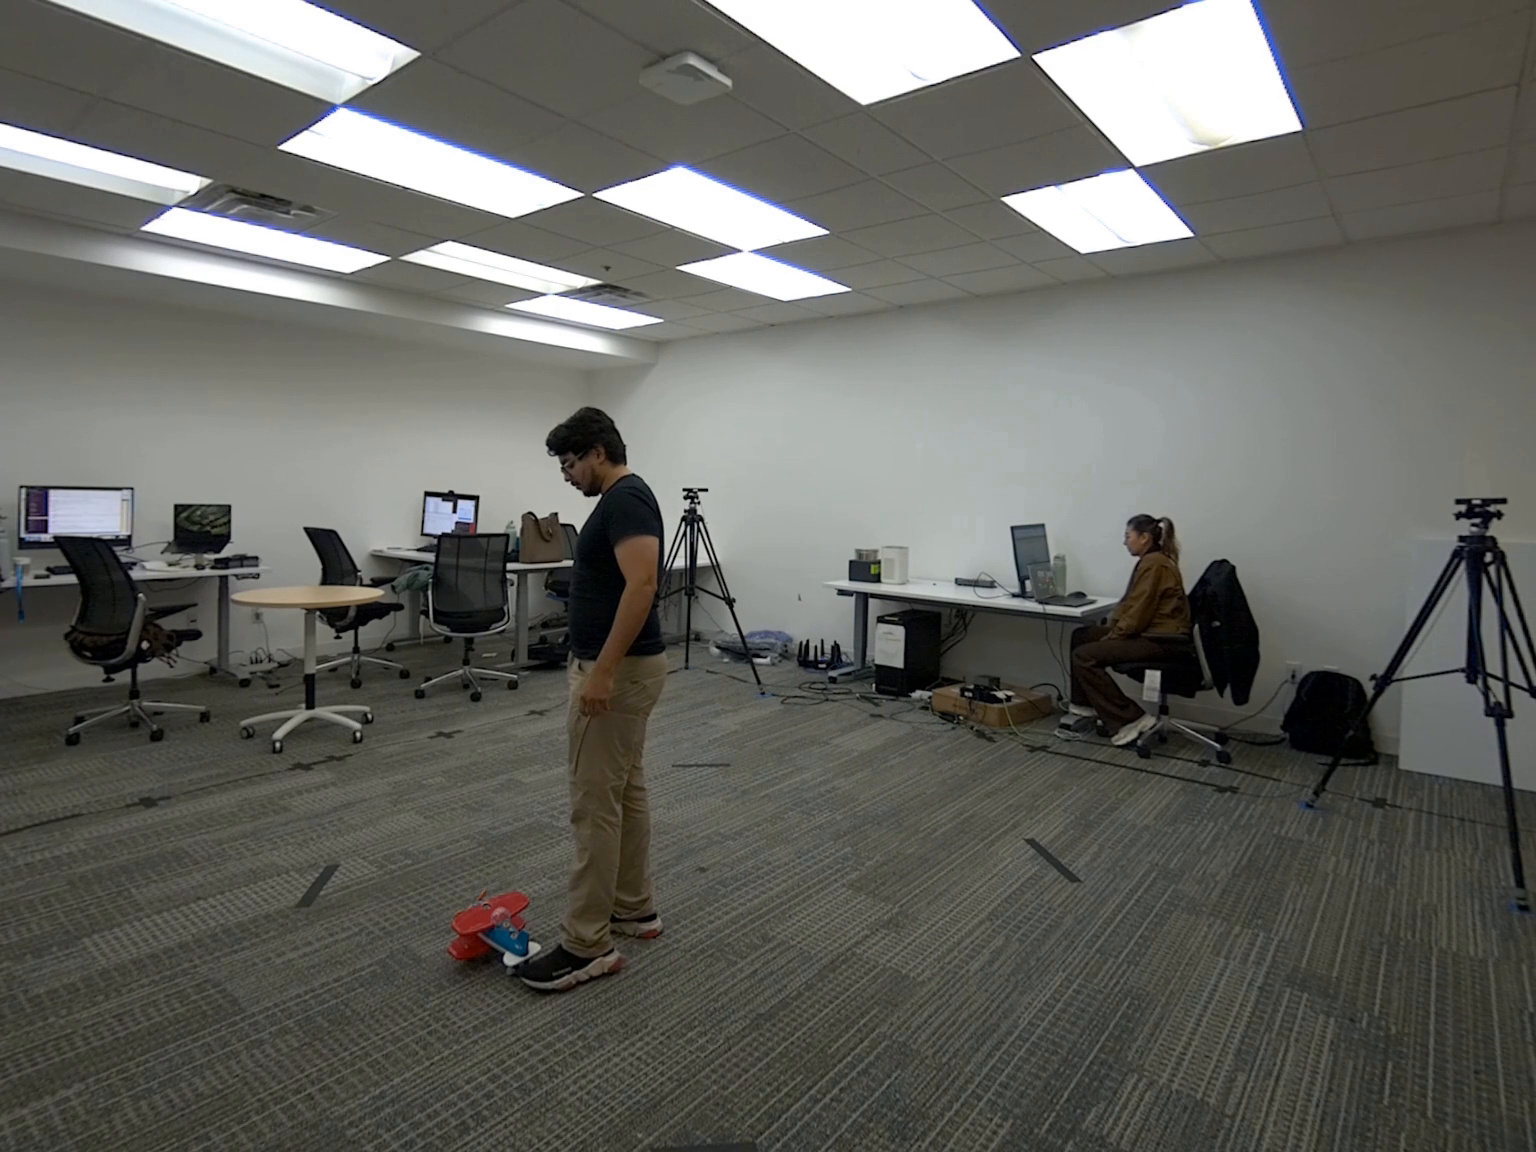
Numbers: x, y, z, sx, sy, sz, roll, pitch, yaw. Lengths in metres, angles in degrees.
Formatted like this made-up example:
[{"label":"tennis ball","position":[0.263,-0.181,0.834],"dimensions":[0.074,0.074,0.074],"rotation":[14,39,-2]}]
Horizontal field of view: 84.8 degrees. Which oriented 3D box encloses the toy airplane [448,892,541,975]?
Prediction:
[{"label":"toy airplane","position":[-0.789,1.047,2.500],"dimensions":[0.261,0.156,0.250],"rotation":[0,5,7]}]
